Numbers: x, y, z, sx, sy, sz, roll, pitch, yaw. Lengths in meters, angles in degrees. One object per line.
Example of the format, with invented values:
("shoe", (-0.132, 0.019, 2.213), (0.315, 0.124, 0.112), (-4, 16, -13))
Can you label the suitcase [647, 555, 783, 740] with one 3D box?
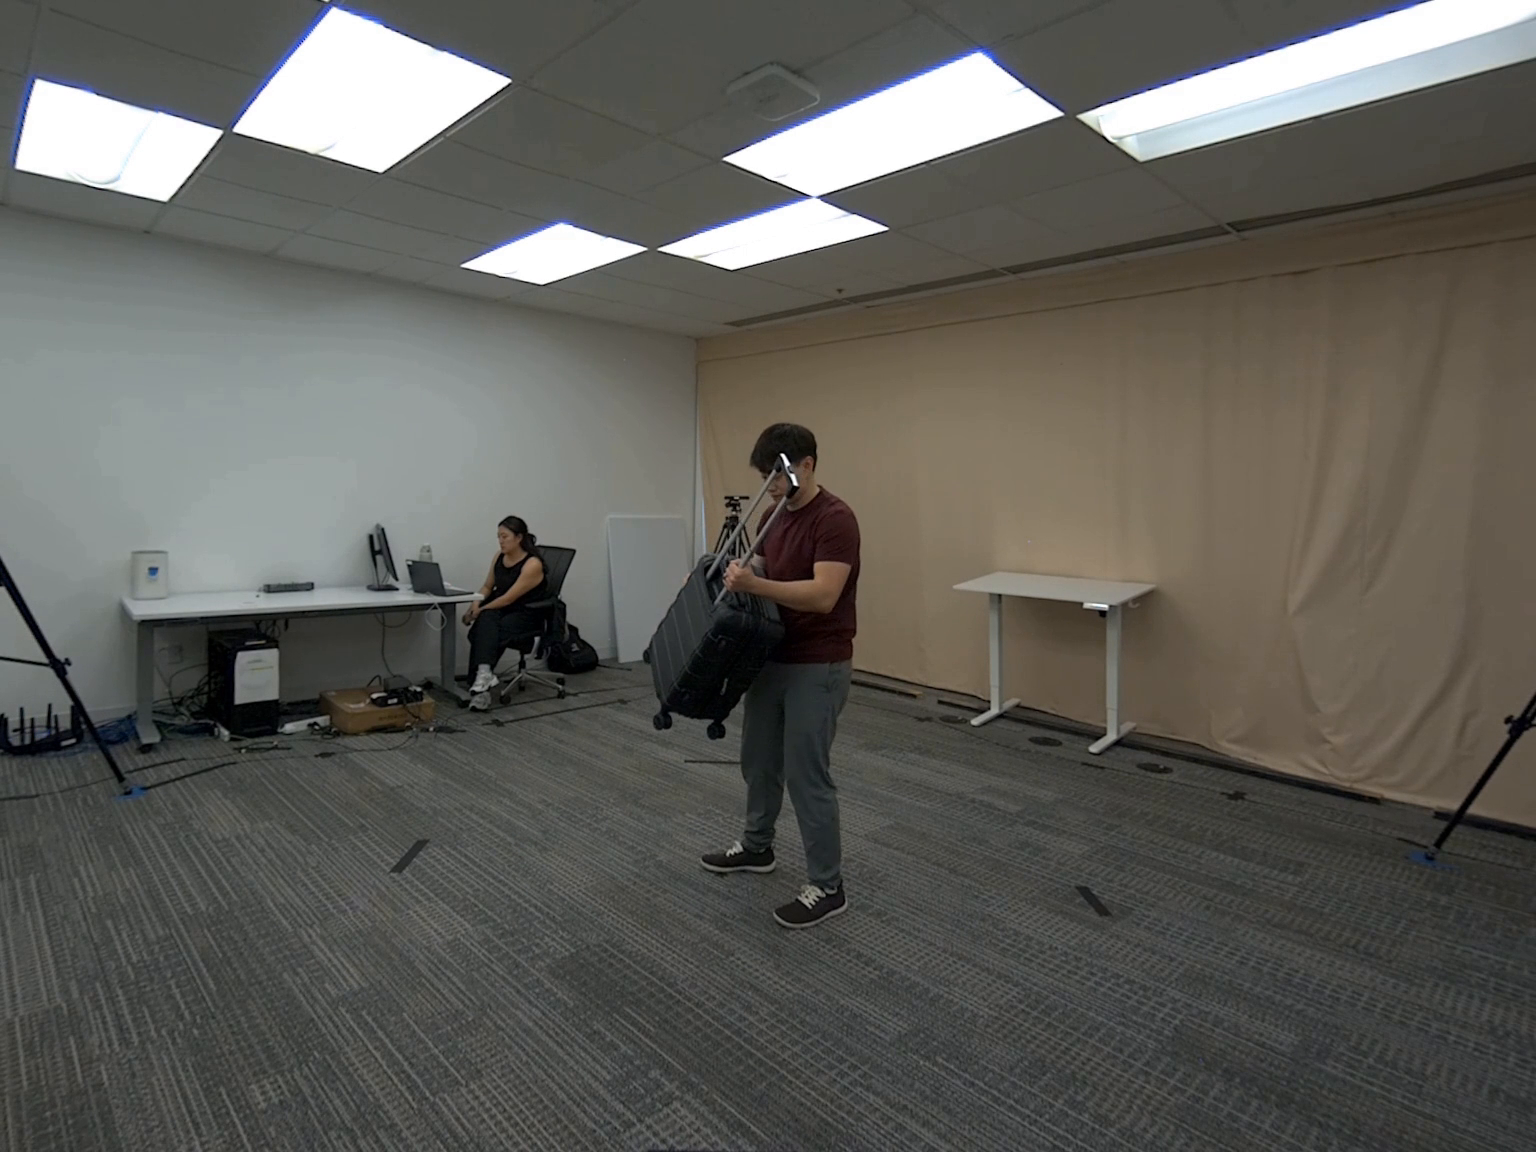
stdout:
("suitcase", (-0.088, 0.074, 2.717), (0.251, 0.974, 0.395), (16, 36, -28))
